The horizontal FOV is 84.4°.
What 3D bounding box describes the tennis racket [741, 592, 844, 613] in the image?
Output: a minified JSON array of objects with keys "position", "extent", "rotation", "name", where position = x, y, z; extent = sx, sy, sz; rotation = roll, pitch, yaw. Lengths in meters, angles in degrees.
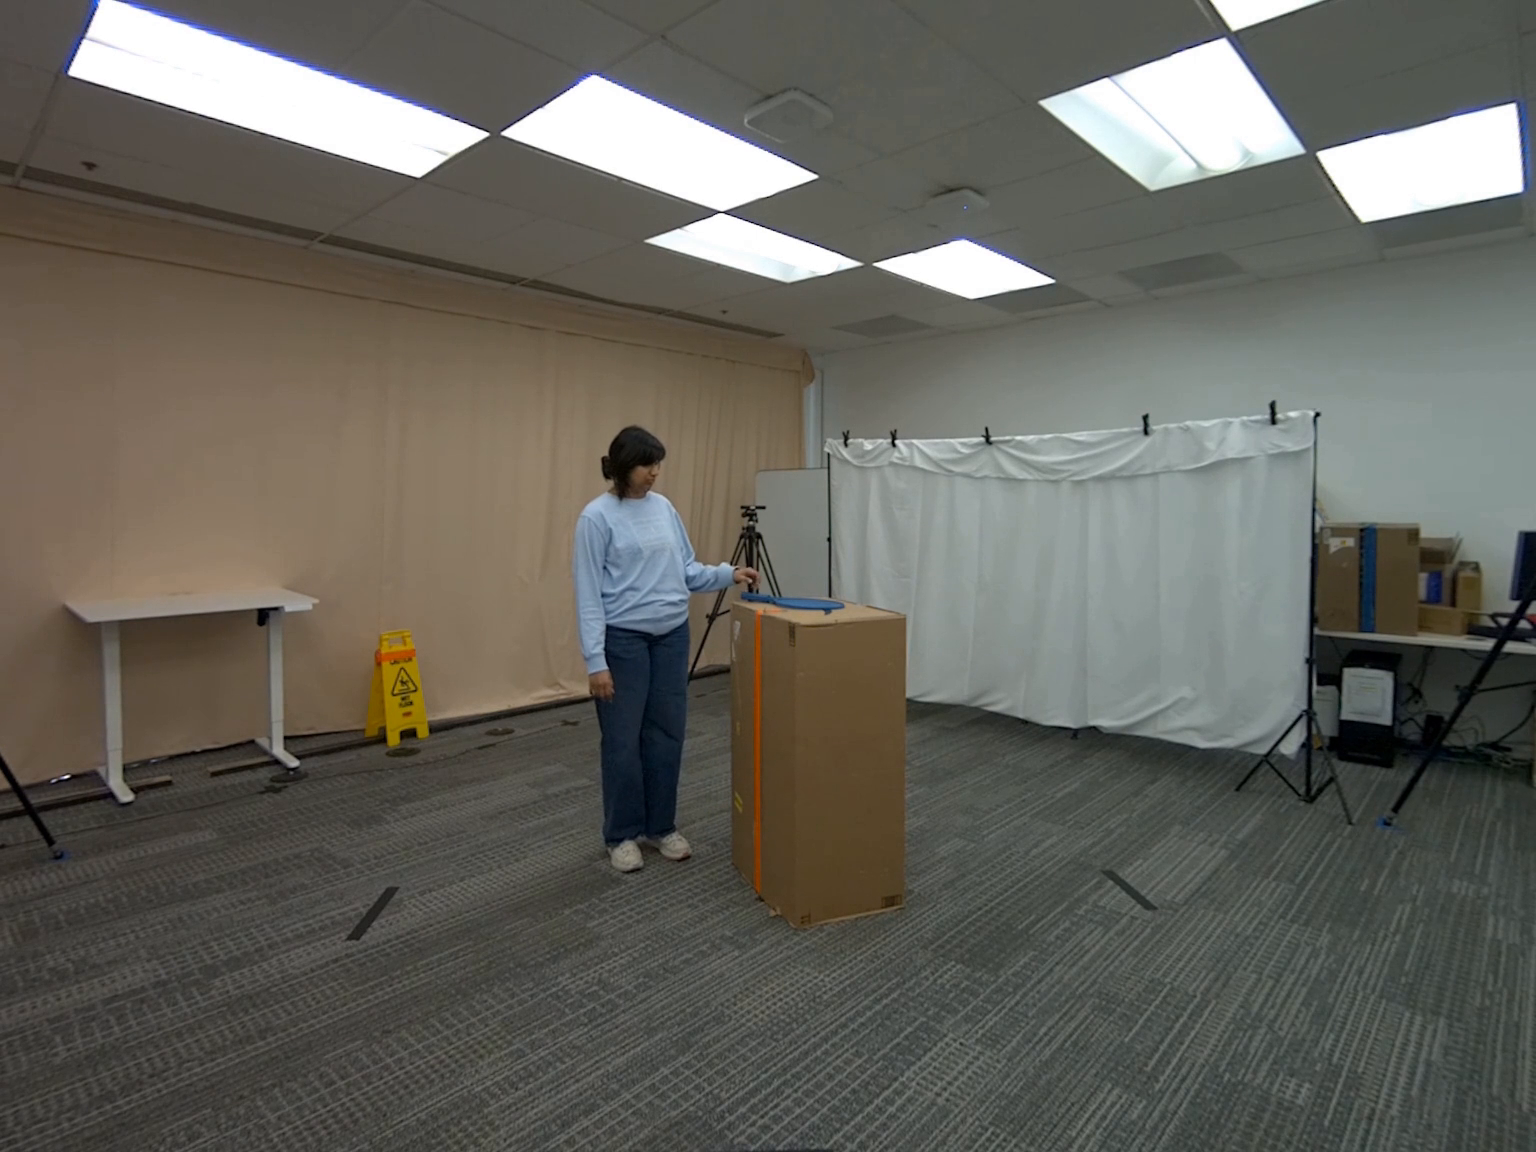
[{"position":[0.096,0.100,3.122],"extent":[0.446,0.031,0.208],"rotation":[5,7,32],"name":"tennis racket"}]
